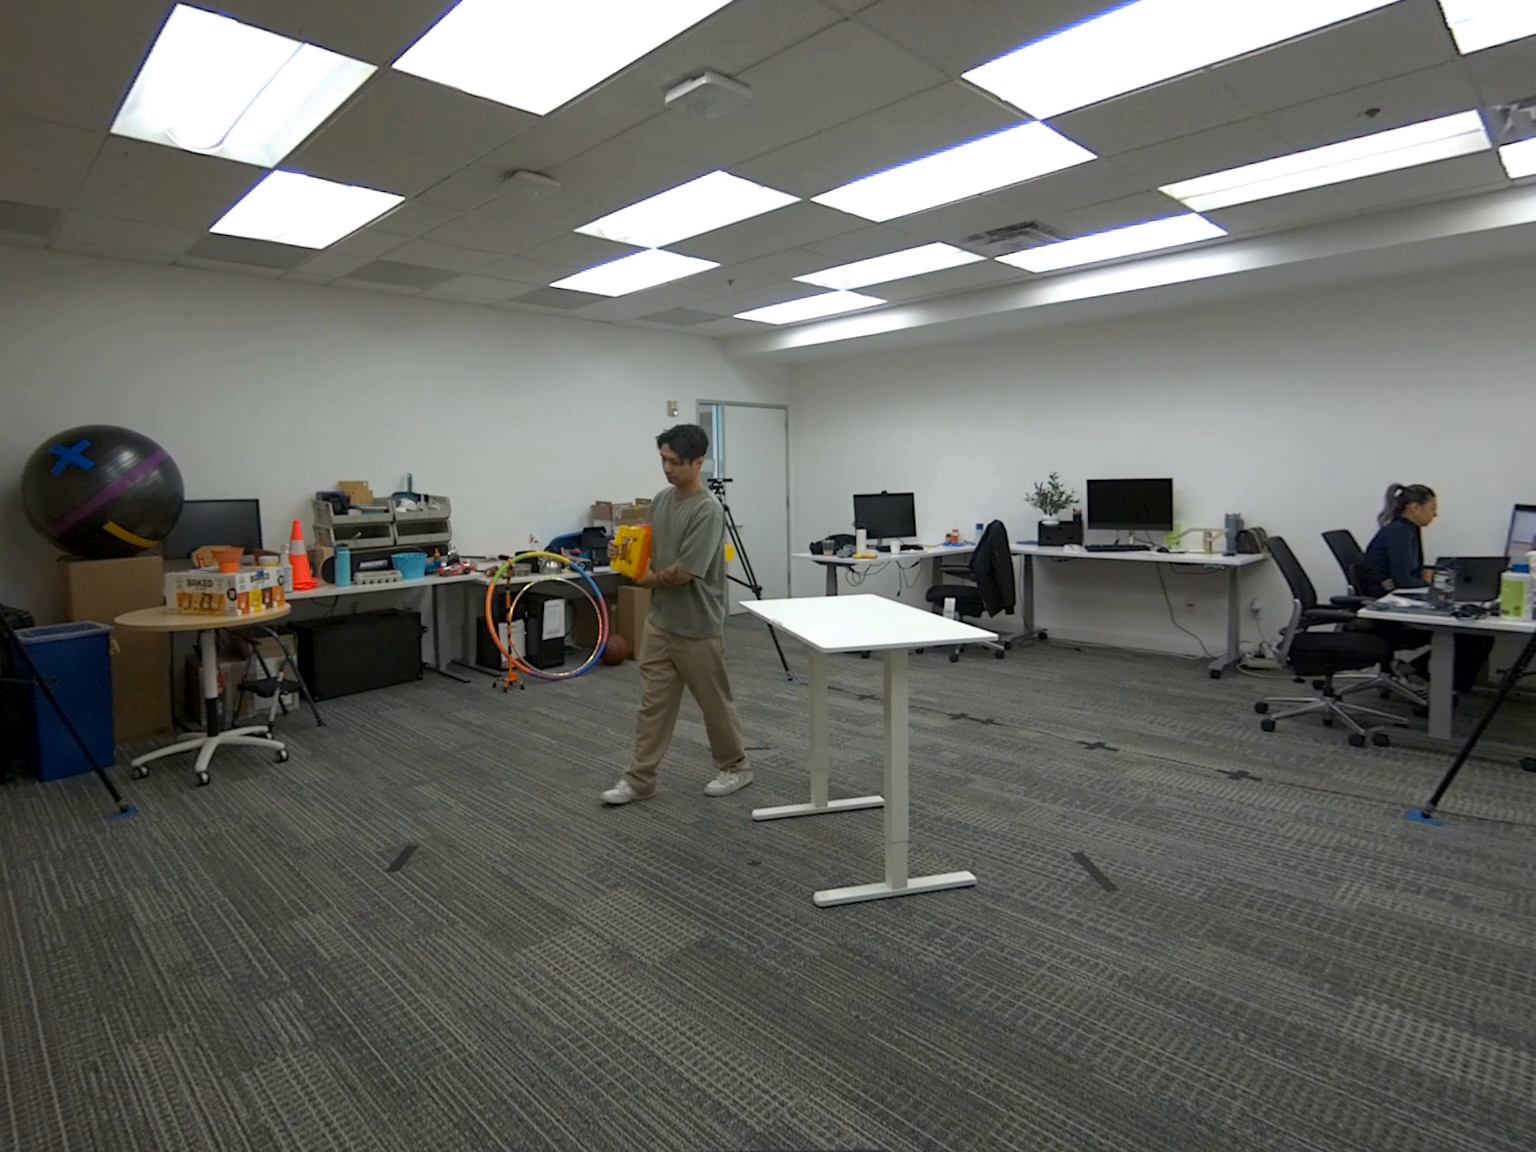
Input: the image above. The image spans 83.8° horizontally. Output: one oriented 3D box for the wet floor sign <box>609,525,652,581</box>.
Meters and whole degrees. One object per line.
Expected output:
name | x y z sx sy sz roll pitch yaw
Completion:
wet floor sign | -0.444 -0.060 3.943 0.623 0.283 0.299 16 -4 -42
